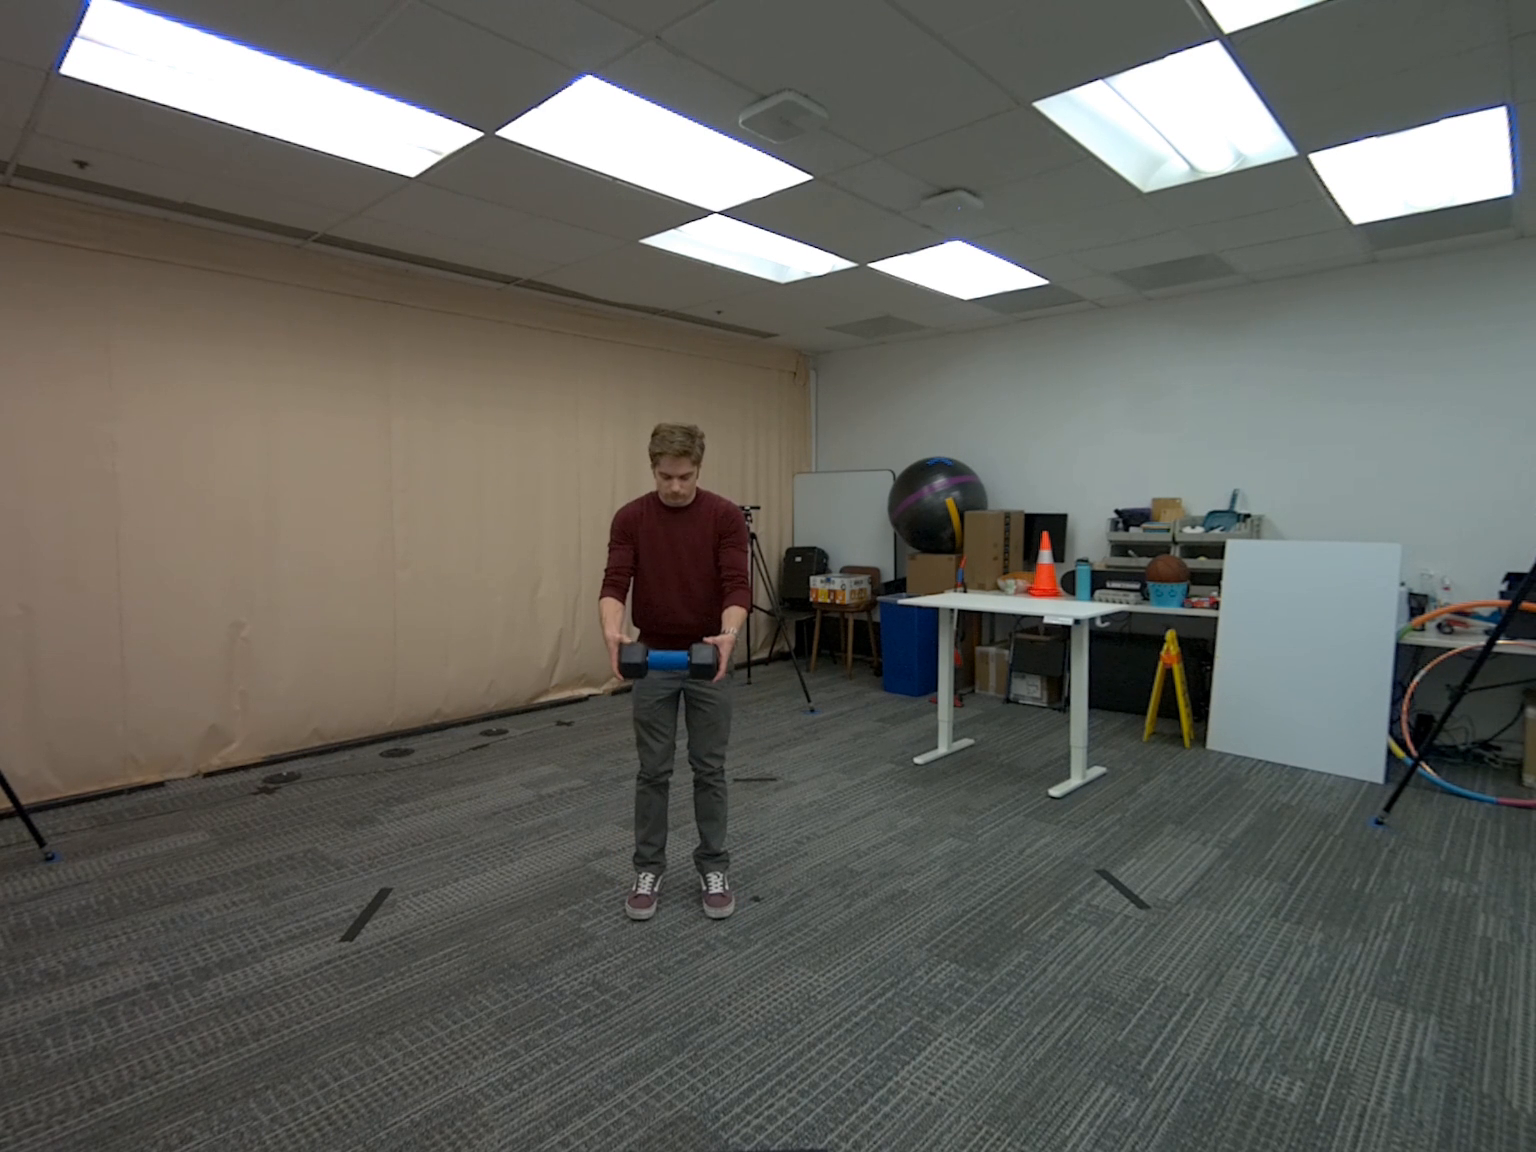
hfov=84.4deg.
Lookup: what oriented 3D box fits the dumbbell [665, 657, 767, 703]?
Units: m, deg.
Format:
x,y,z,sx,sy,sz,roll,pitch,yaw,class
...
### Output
x,y,z,sx,sy,sz,roll,pitch,yaw,class
-0.153,0.308,2.535,0.295,0.108,0.122,0,3,4,dumbbell
